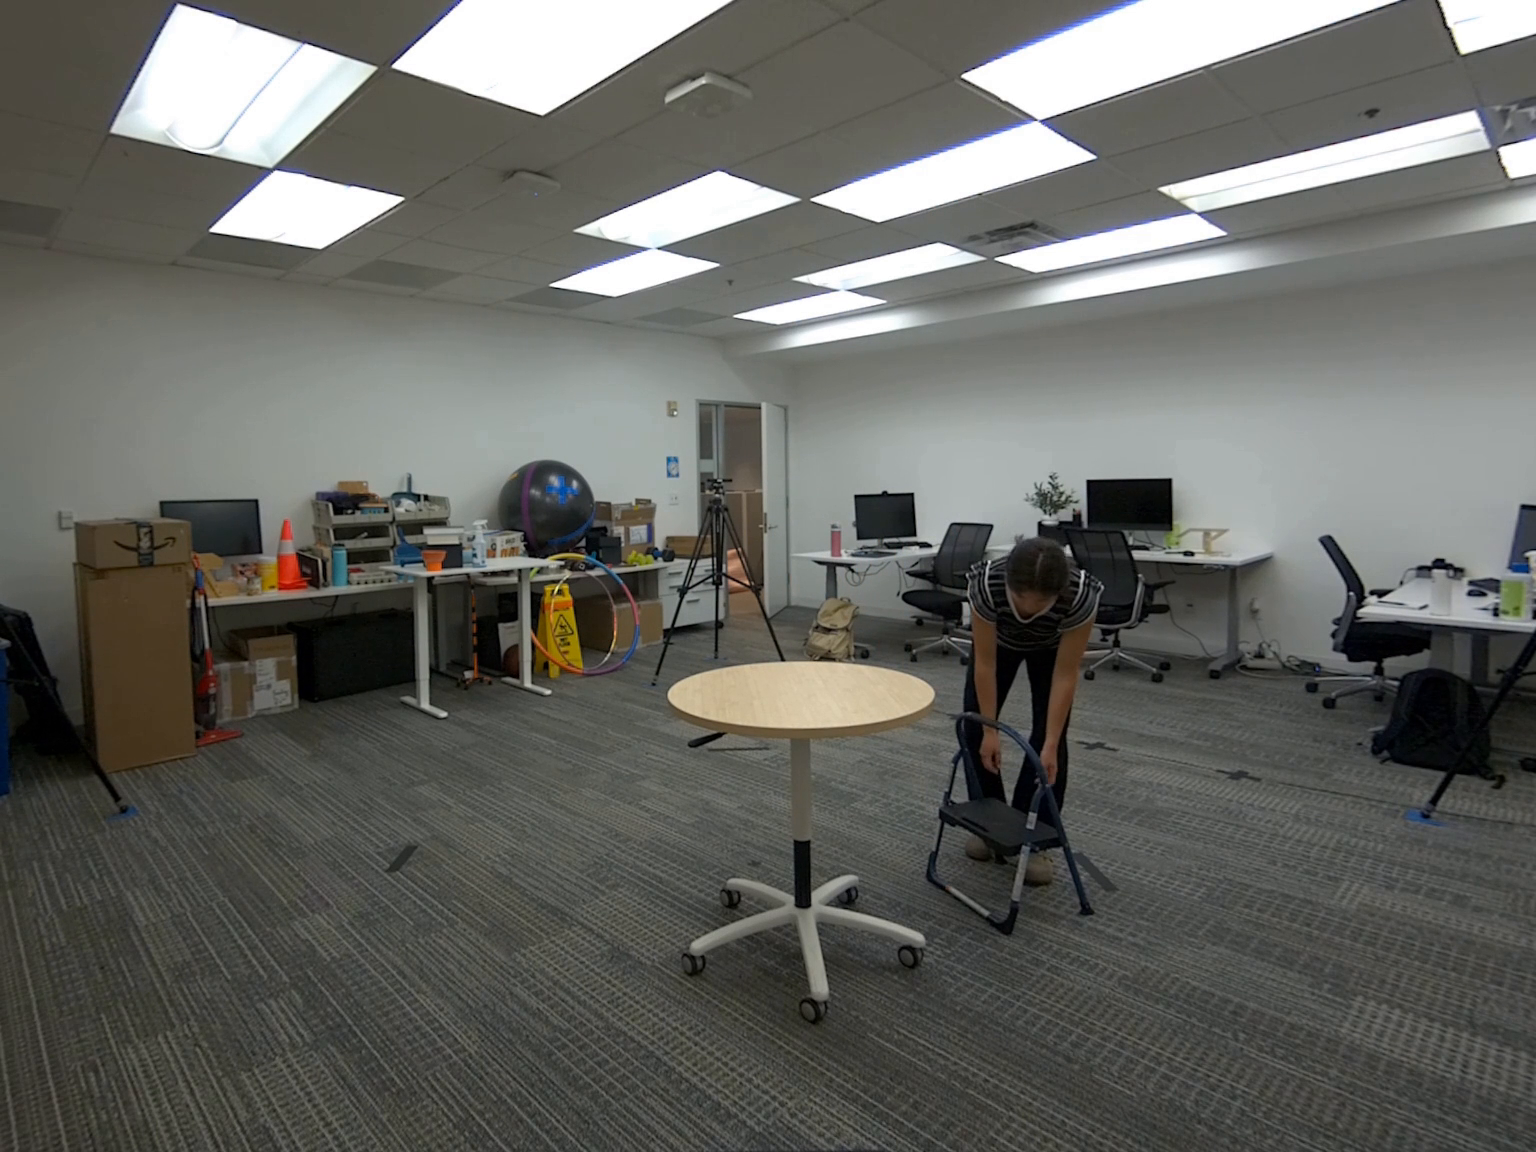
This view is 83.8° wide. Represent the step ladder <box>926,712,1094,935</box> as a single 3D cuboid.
[{"bbox_3d":[0.788,0.762,2.815,0.342,0.604,0.441,-2,5,-25],"label":"step ladder"}]
